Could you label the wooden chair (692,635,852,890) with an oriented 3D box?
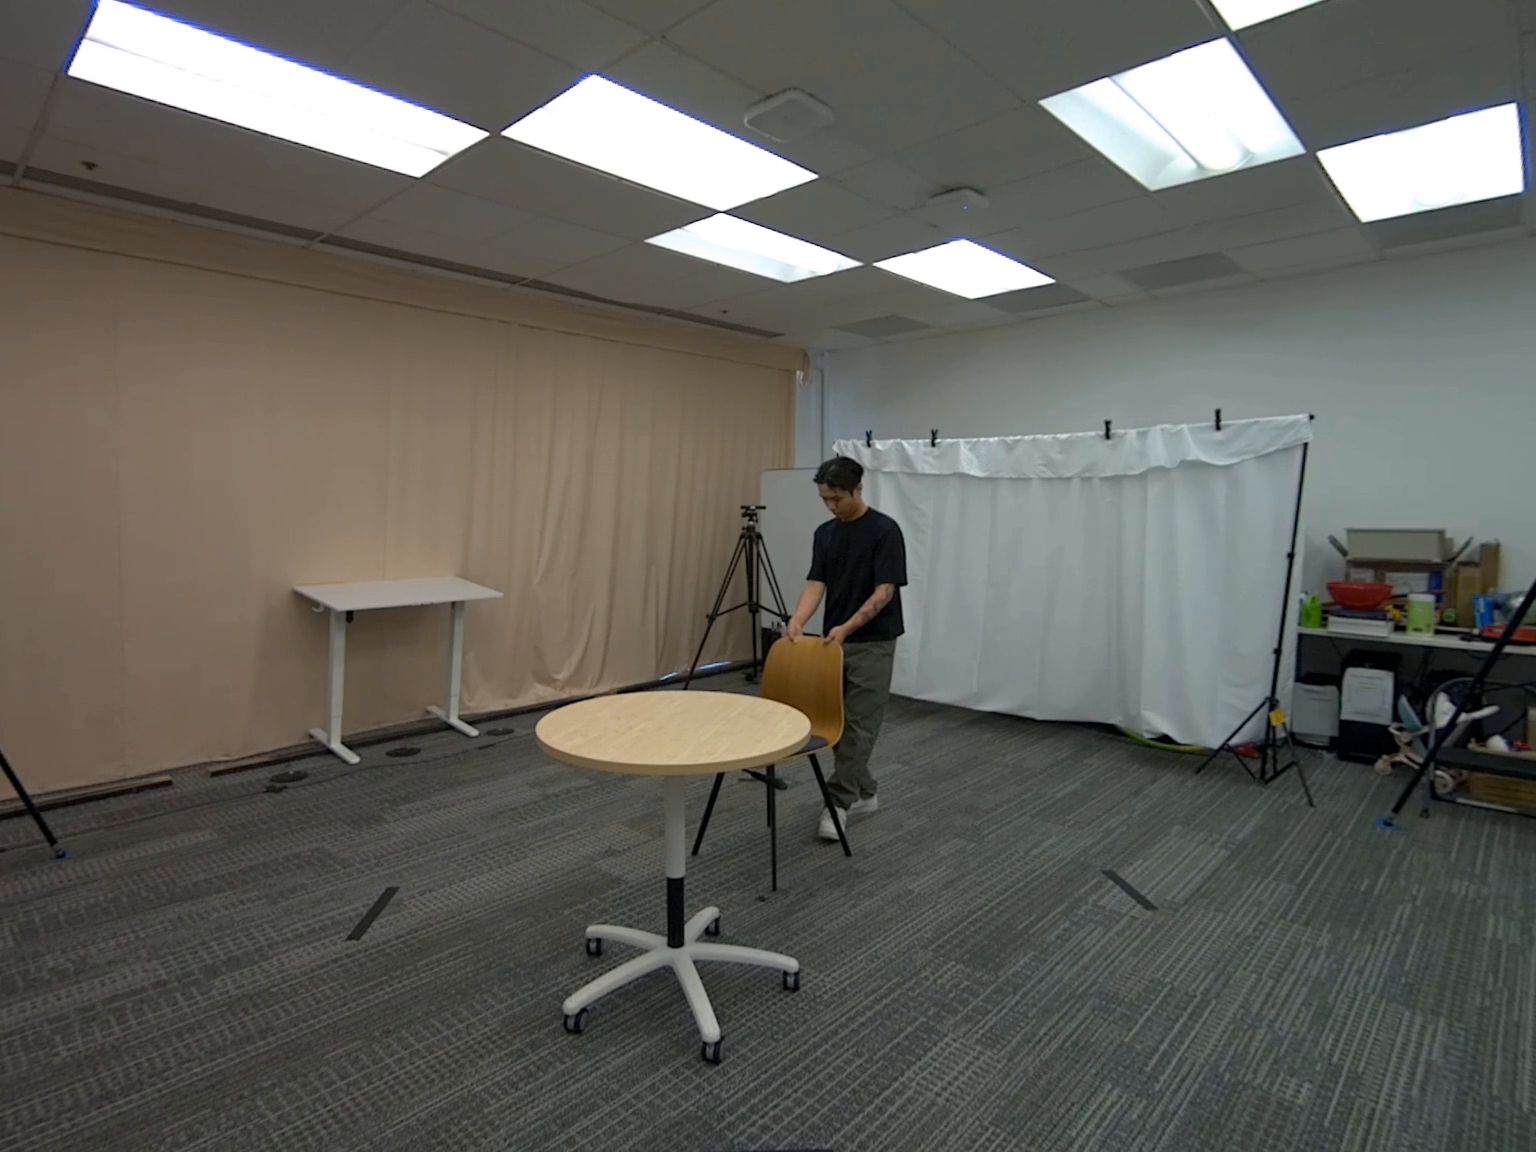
[{"bbox_3d":[0.010,0.688,3.312,0.494,0.877,0.506,3,0,45],"label":"wooden chair"}]
